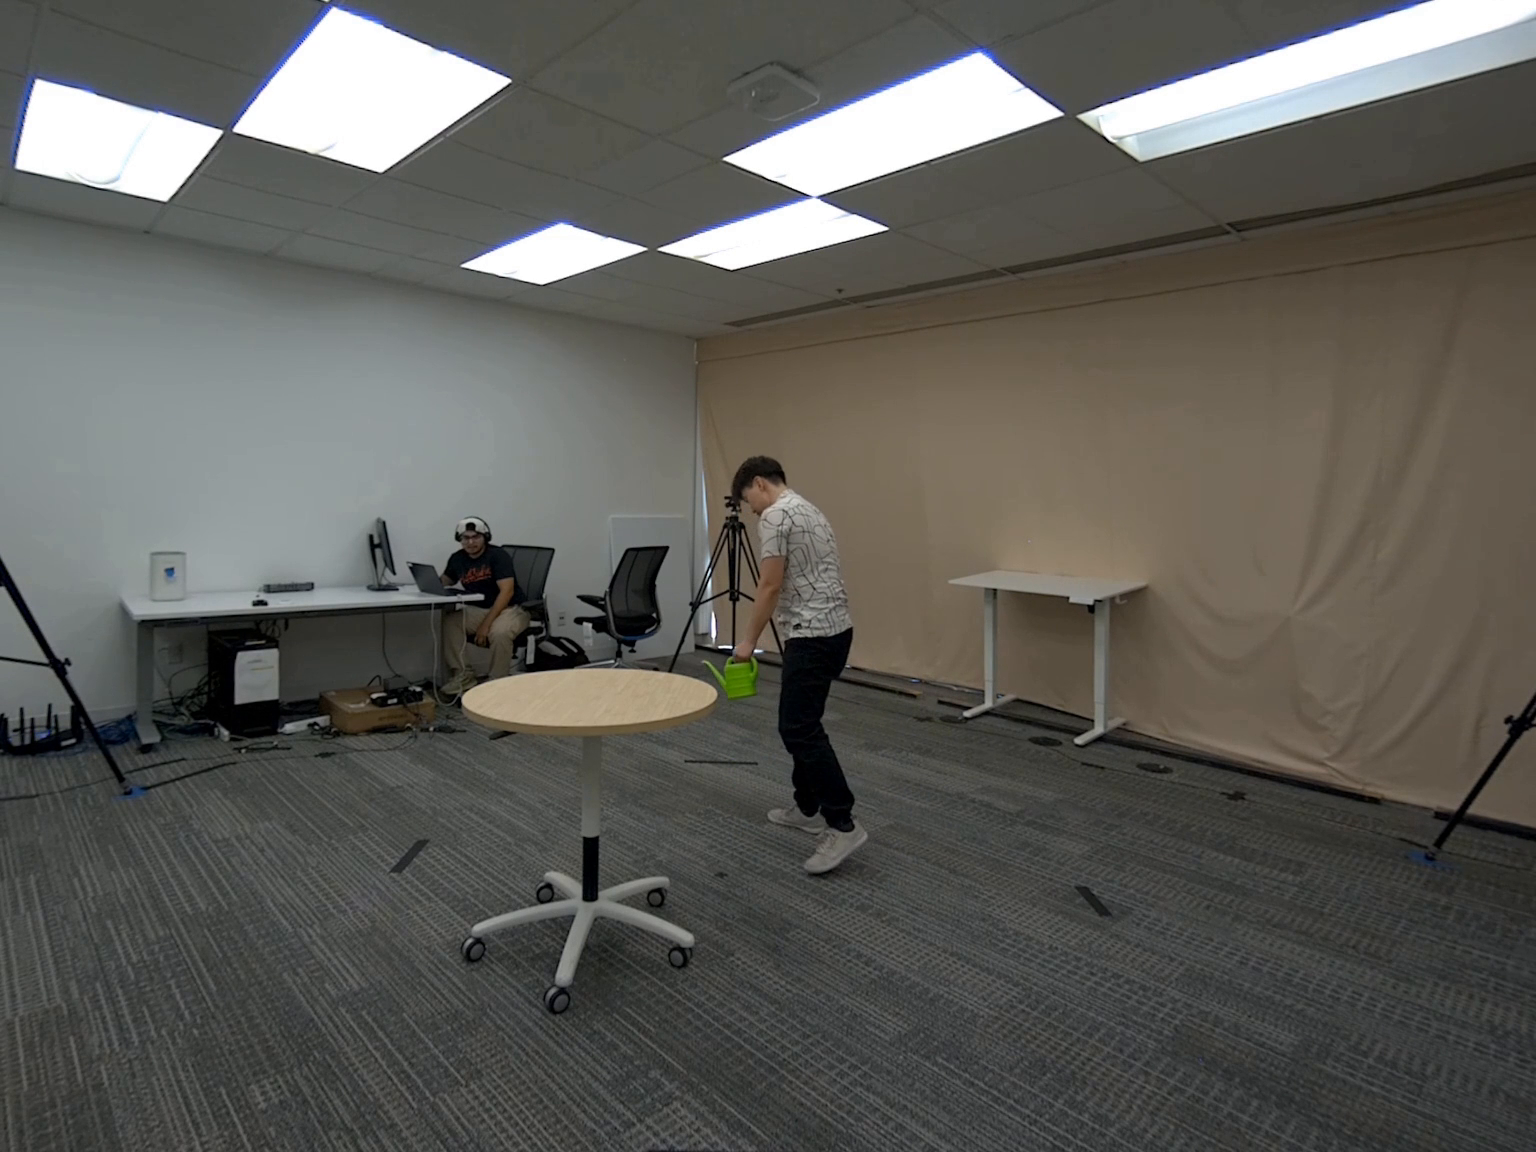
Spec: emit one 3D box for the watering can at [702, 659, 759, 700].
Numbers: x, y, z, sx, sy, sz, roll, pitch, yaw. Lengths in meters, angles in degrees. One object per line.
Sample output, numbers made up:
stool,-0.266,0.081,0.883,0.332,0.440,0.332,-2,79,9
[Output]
watering can,-0.151,0.422,3.475,0.095,0.178,0.283,2,-13,-43
